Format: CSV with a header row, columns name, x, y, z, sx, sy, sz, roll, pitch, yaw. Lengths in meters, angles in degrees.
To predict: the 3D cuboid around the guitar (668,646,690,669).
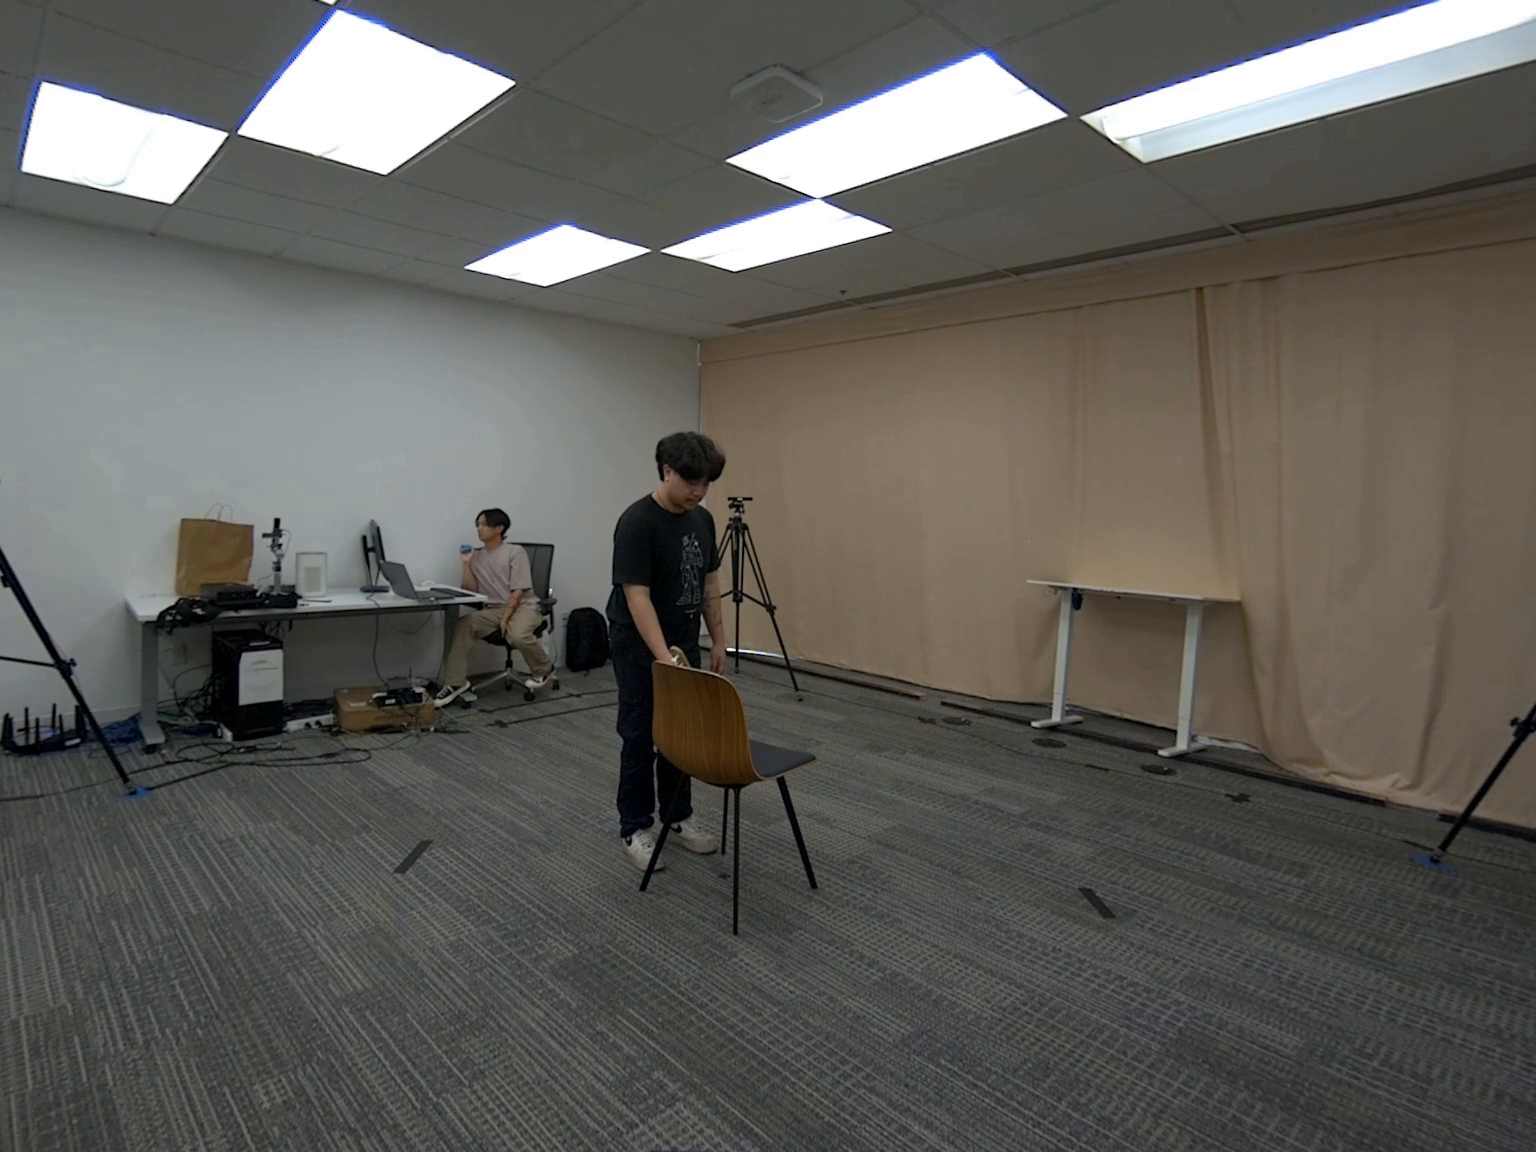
name,x,y,z,sx,sy,sz,roll,pitch,yaw
guitar,-0.246,0.445,2.878,0.198,0.486,0.070,4,40,45
